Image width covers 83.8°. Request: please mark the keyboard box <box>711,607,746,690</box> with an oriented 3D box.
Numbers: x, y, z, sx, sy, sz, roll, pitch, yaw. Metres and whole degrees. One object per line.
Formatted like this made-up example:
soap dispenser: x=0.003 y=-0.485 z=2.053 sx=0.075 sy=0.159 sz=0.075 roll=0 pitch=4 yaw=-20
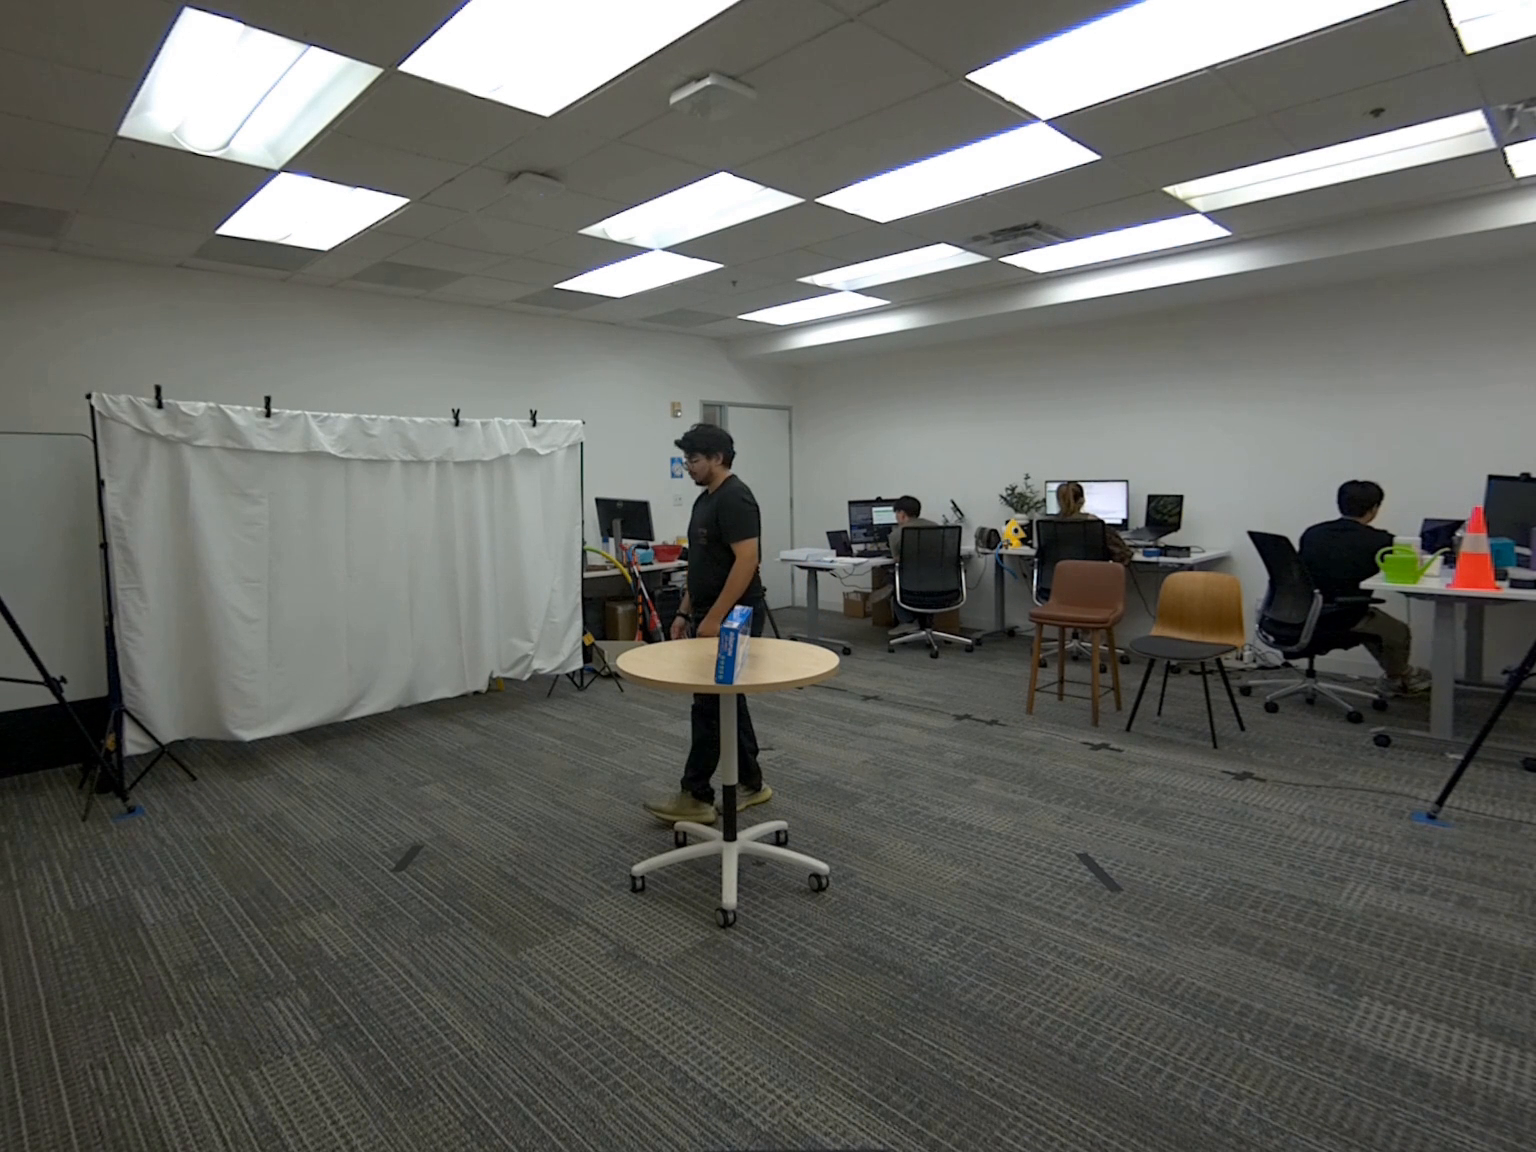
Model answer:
keyboard box: x=-0.125 y=0.225 z=2.781 sx=0.059 sy=0.175 sz=0.436 roll=0 pitch=7 yaw=4
